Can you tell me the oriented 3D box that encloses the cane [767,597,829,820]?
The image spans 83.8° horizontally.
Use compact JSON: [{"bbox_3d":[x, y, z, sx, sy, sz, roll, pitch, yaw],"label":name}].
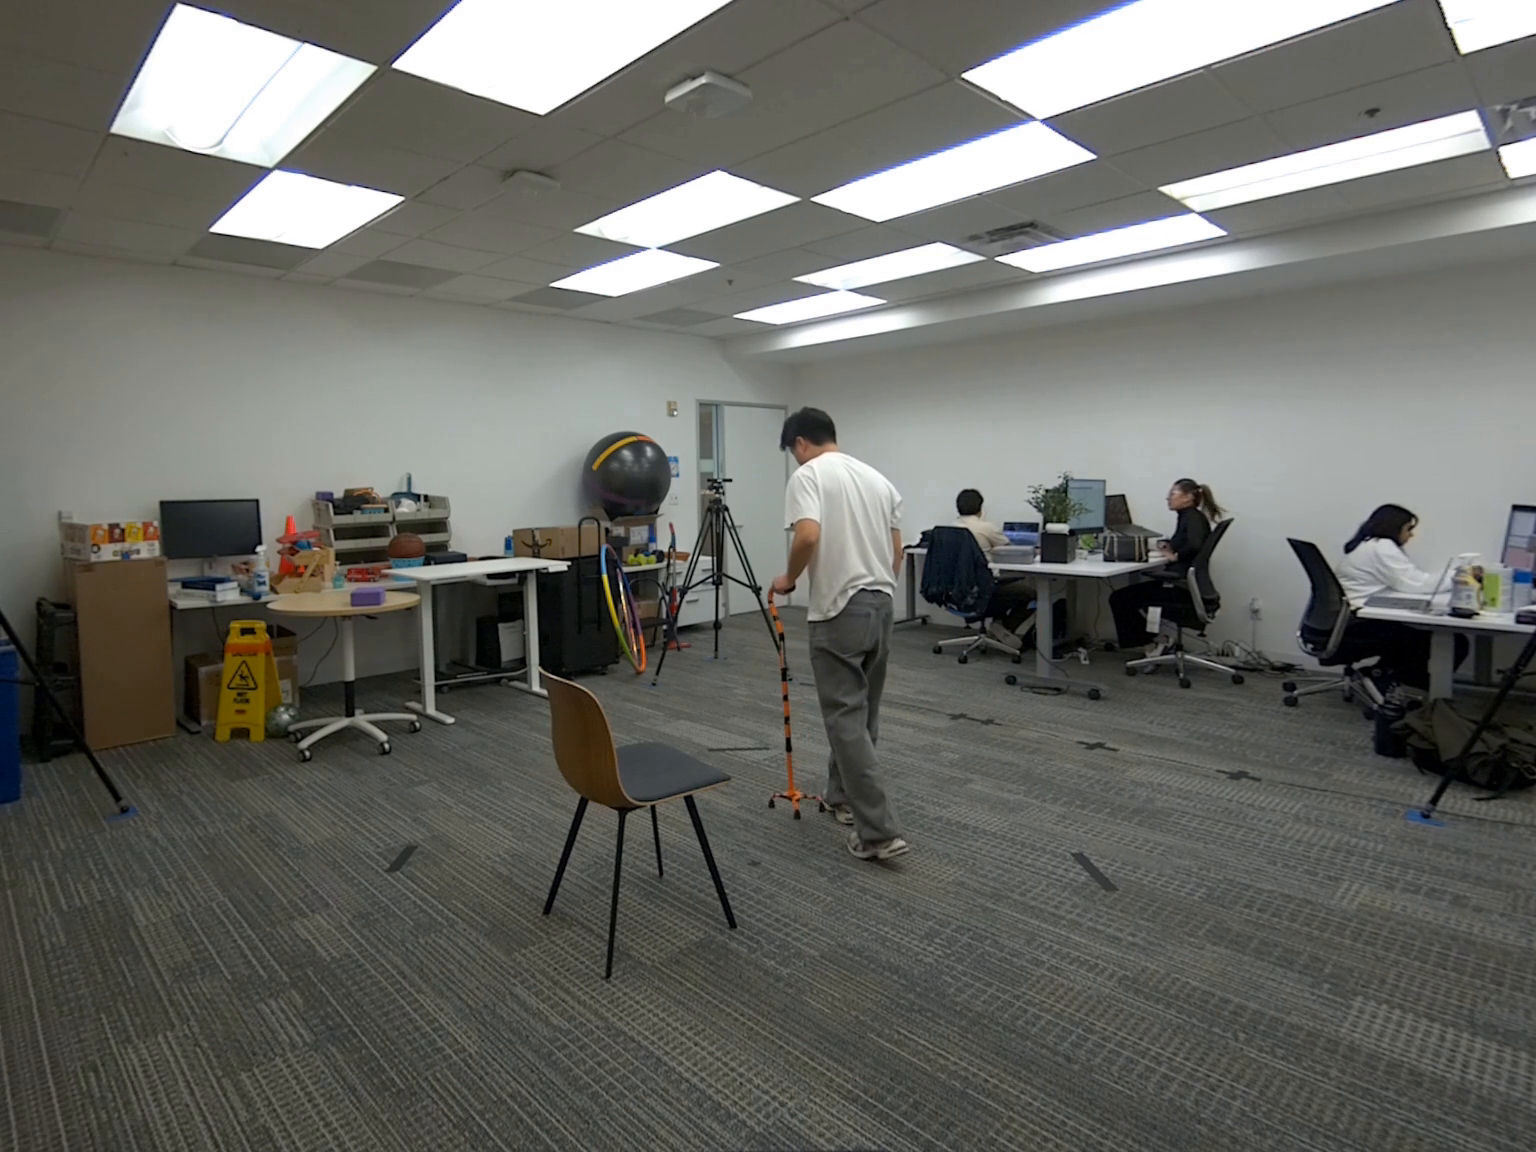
[{"bbox_3d":[0.074,0.488,3.418,0.148,0.907,0.211,-5,1,-31],"label":"cane"}]
